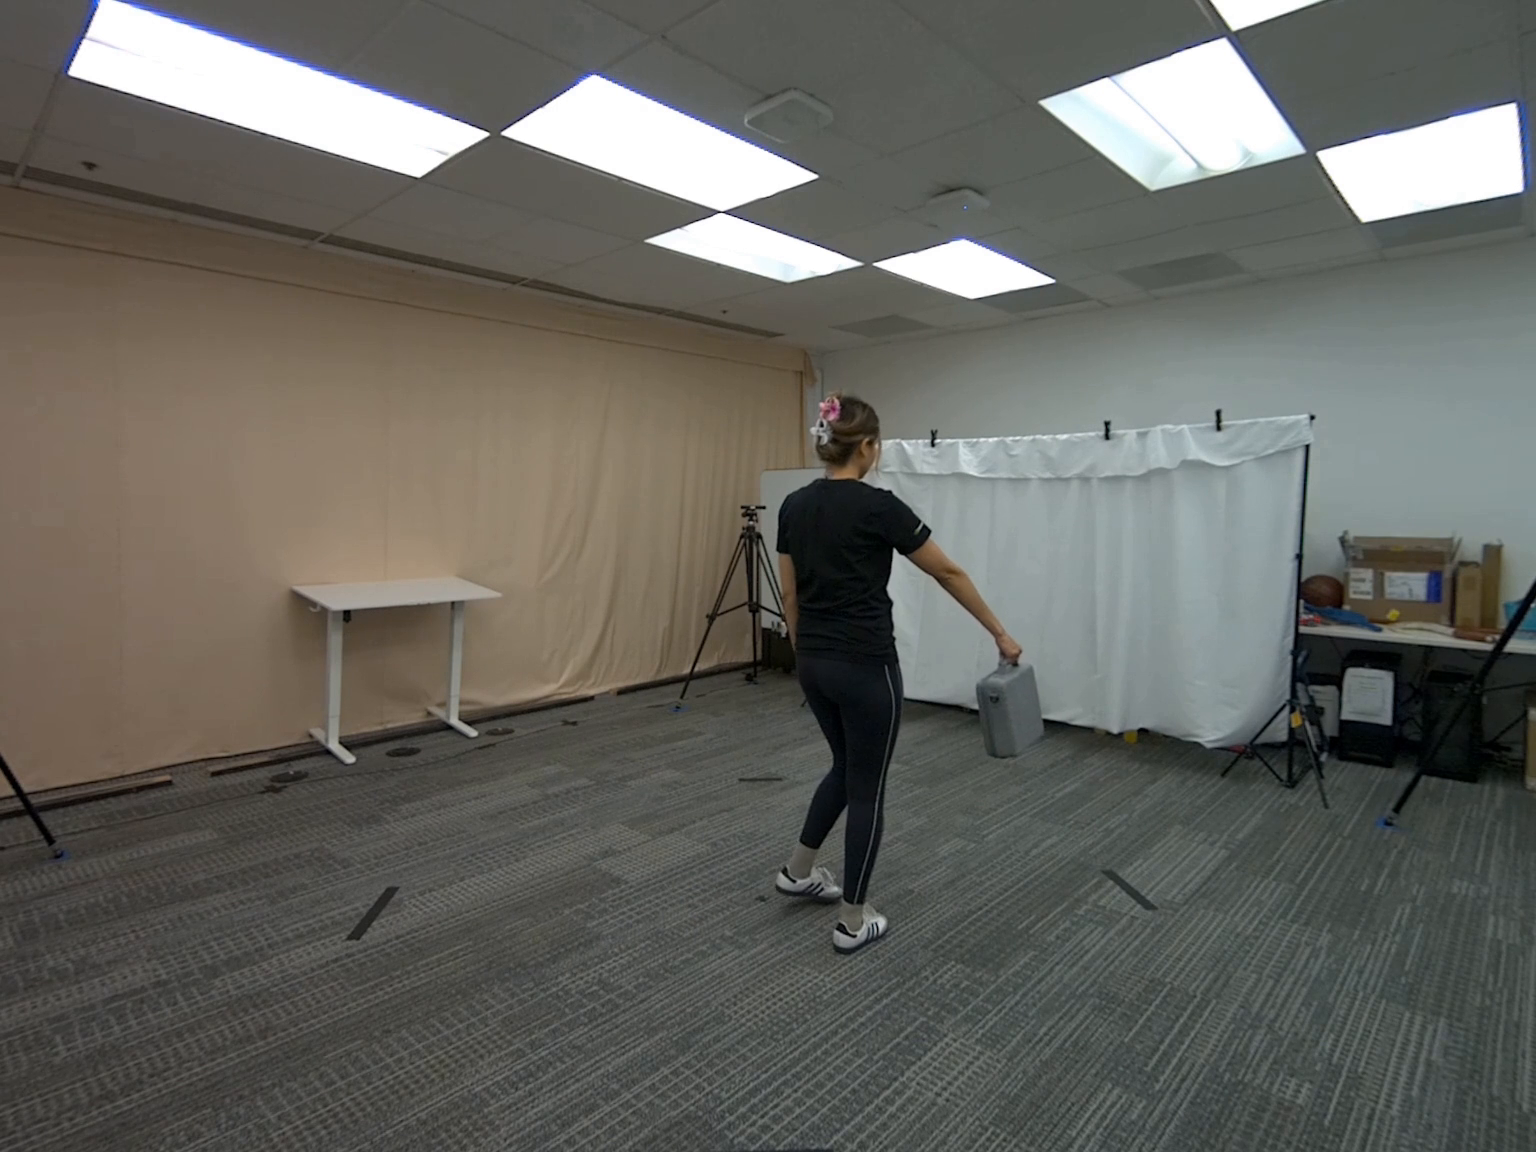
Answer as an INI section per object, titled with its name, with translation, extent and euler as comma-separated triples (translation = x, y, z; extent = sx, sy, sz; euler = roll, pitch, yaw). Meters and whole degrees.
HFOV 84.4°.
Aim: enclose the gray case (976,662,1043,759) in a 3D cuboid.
[gray case]
translation = 0.779, 0.423, 2.678
extent = 0.107, 0.260, 0.250
euler = -6, 7, 43
